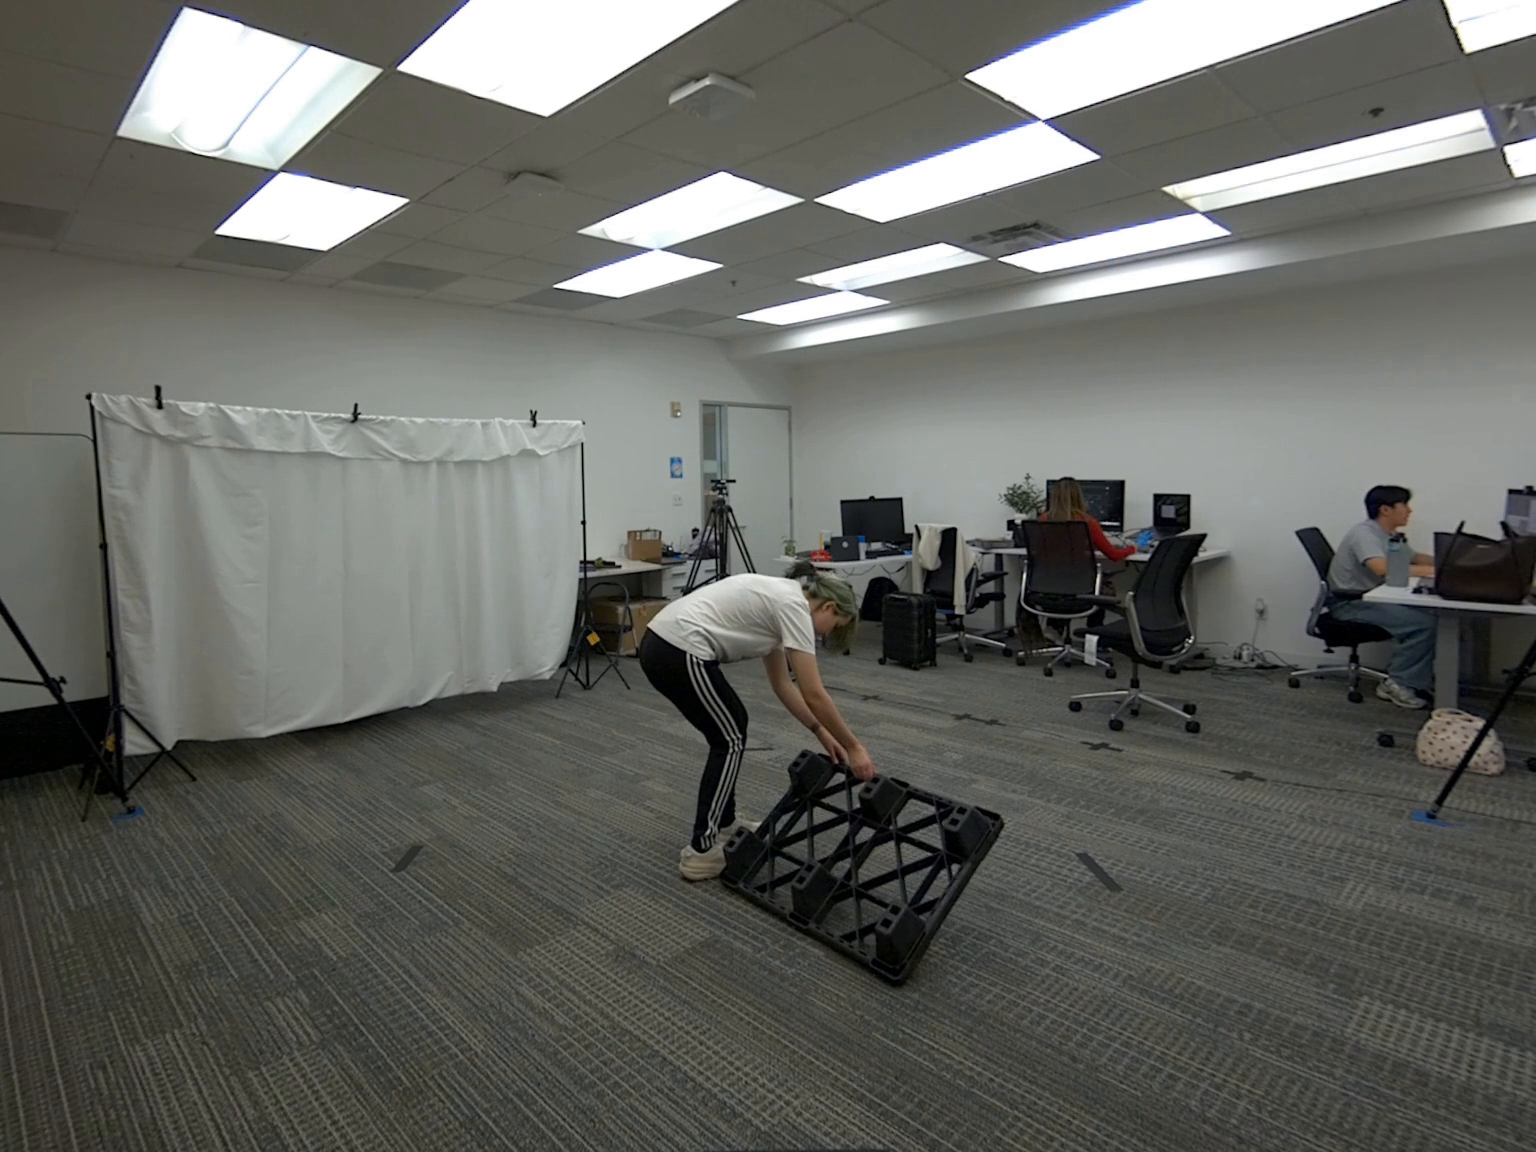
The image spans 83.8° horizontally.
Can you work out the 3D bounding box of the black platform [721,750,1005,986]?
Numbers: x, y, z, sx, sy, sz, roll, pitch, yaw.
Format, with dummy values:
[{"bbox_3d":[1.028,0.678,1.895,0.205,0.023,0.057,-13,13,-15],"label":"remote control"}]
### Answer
[{"bbox_3d":[0.261,0.866,2.760,0.830,0.139,0.604,5,42,50],"label":"black platform"}]
